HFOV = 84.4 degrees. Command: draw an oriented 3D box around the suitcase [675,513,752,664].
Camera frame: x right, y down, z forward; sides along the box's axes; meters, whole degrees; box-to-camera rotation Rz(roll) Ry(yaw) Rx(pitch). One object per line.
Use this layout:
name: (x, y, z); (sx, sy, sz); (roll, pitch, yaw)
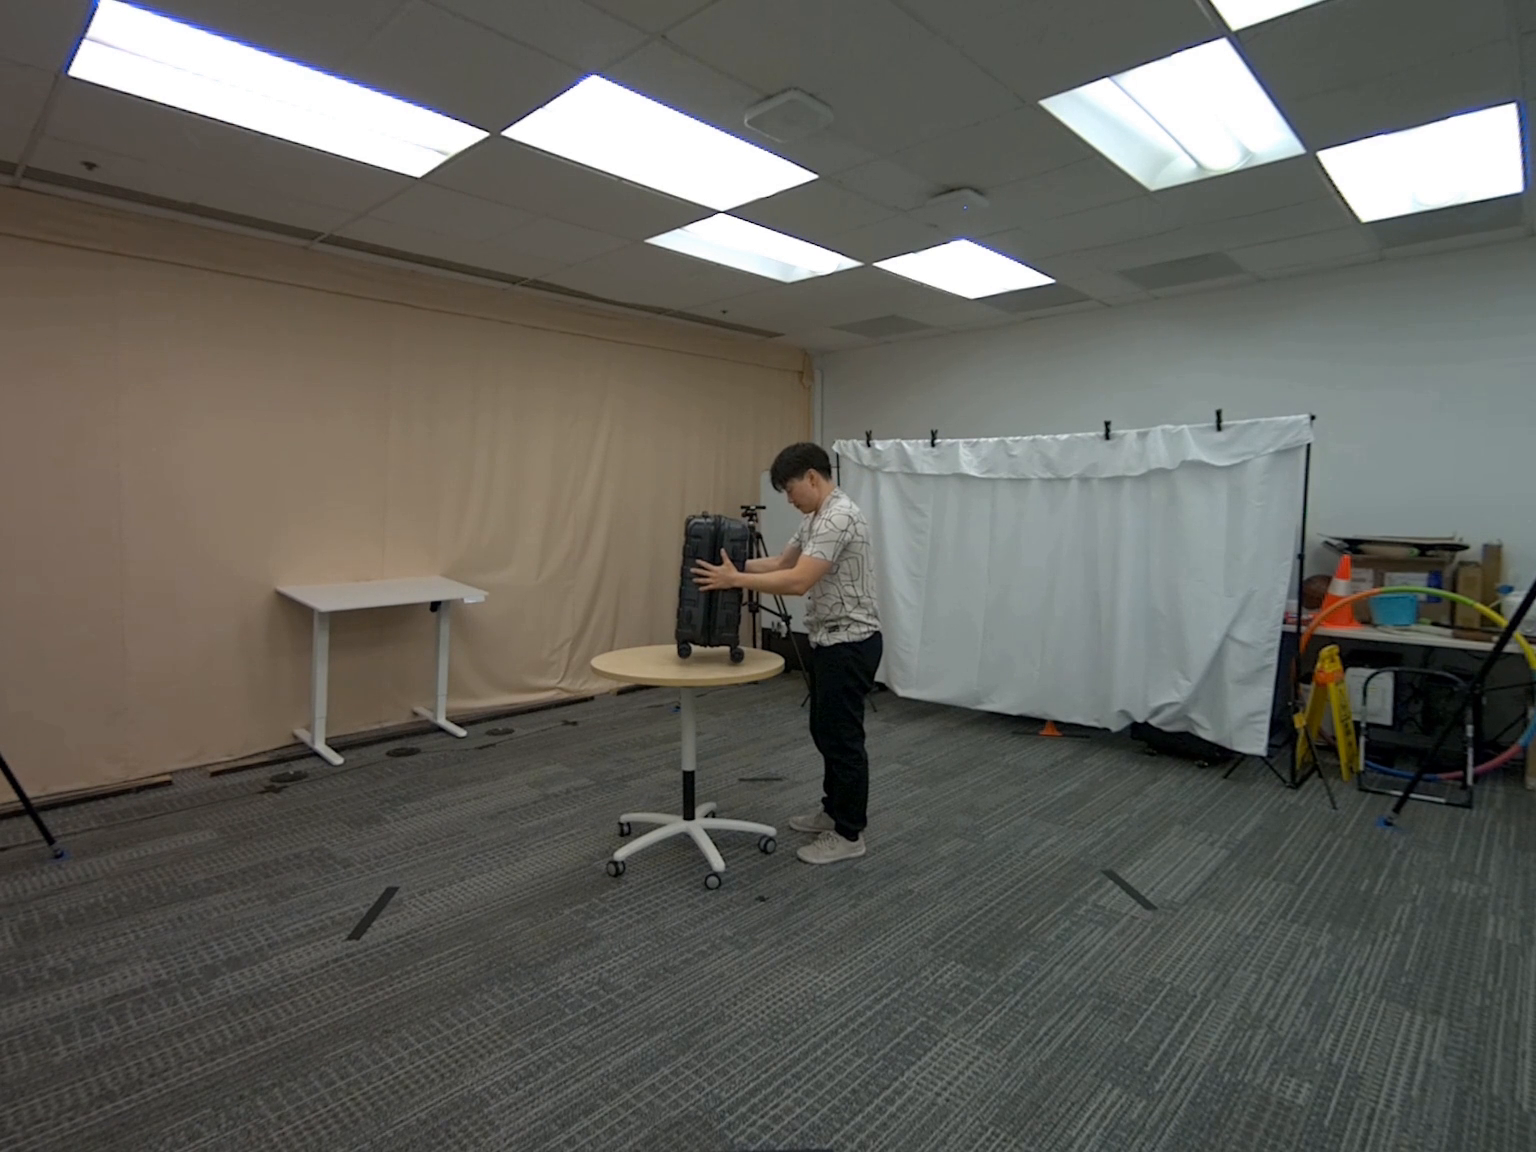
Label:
suitcase: (-0.217, 0.027, 3.339); (0.248, 0.548, 0.376); (3, 3, -2)
